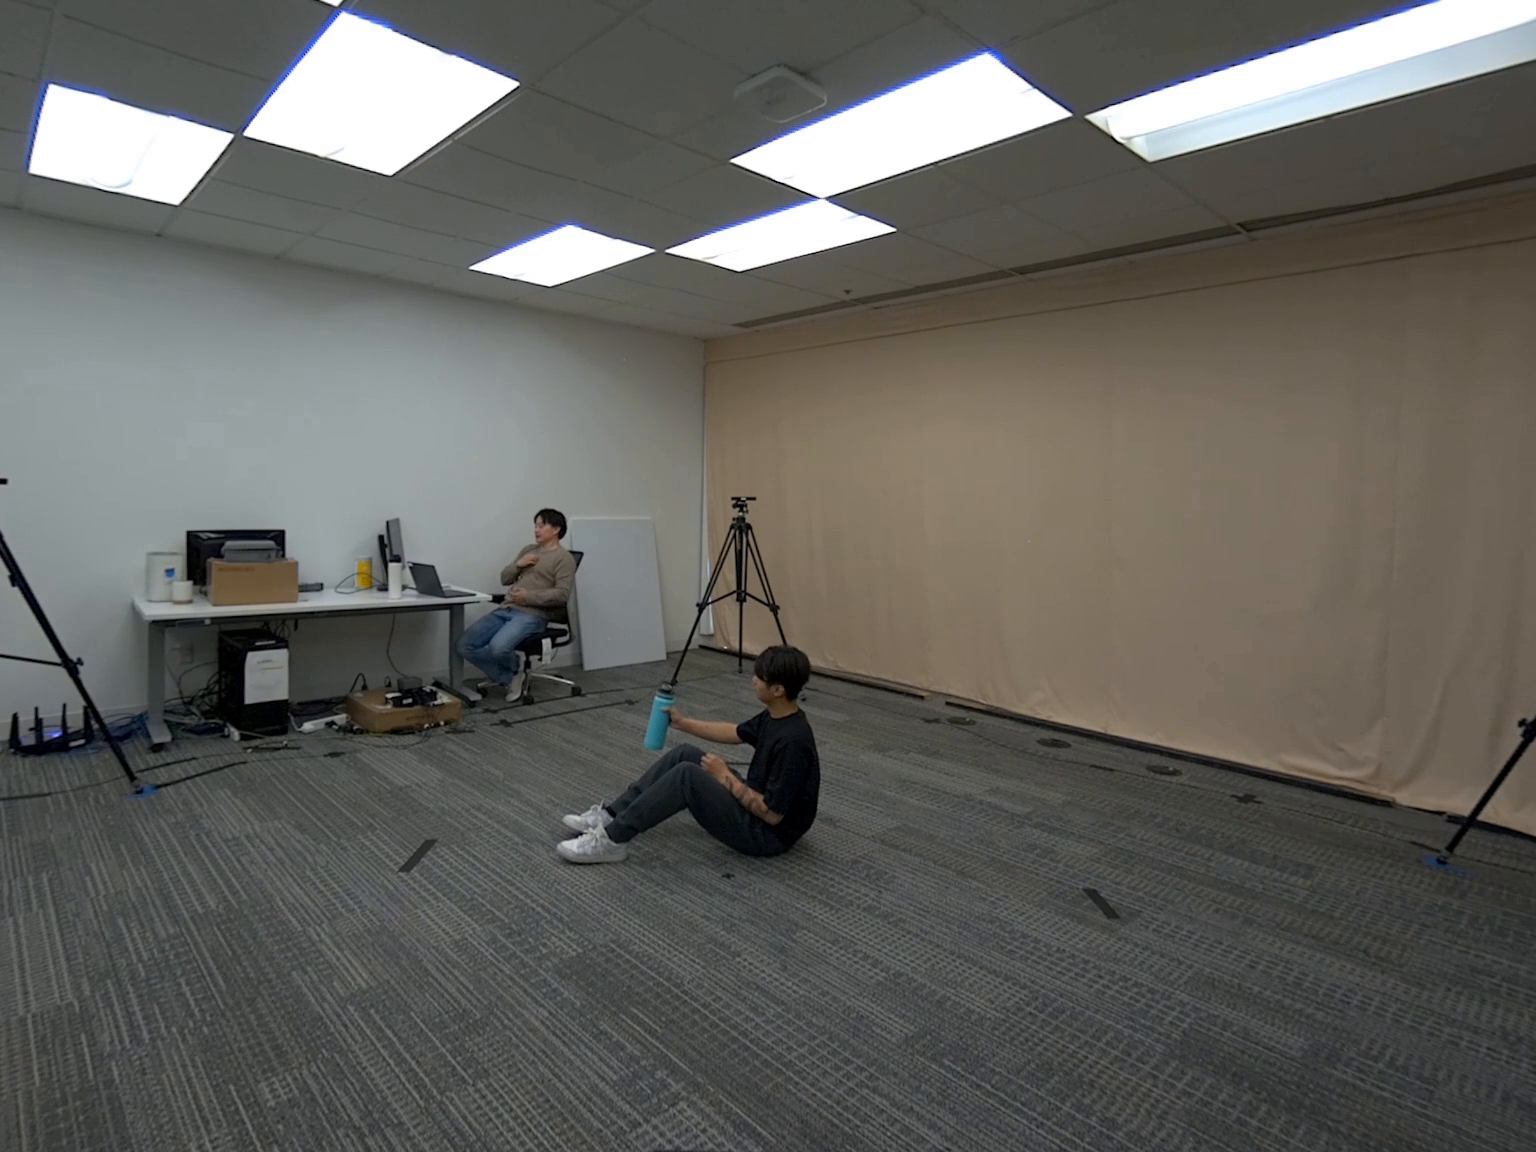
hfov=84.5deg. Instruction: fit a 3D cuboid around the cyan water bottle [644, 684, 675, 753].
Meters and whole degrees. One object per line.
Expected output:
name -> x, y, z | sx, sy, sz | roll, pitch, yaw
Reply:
cyan water bottle -> -0.485, 0.620, 3.729 | 0.092, 0.283, 0.092 | 10, -1, -1
